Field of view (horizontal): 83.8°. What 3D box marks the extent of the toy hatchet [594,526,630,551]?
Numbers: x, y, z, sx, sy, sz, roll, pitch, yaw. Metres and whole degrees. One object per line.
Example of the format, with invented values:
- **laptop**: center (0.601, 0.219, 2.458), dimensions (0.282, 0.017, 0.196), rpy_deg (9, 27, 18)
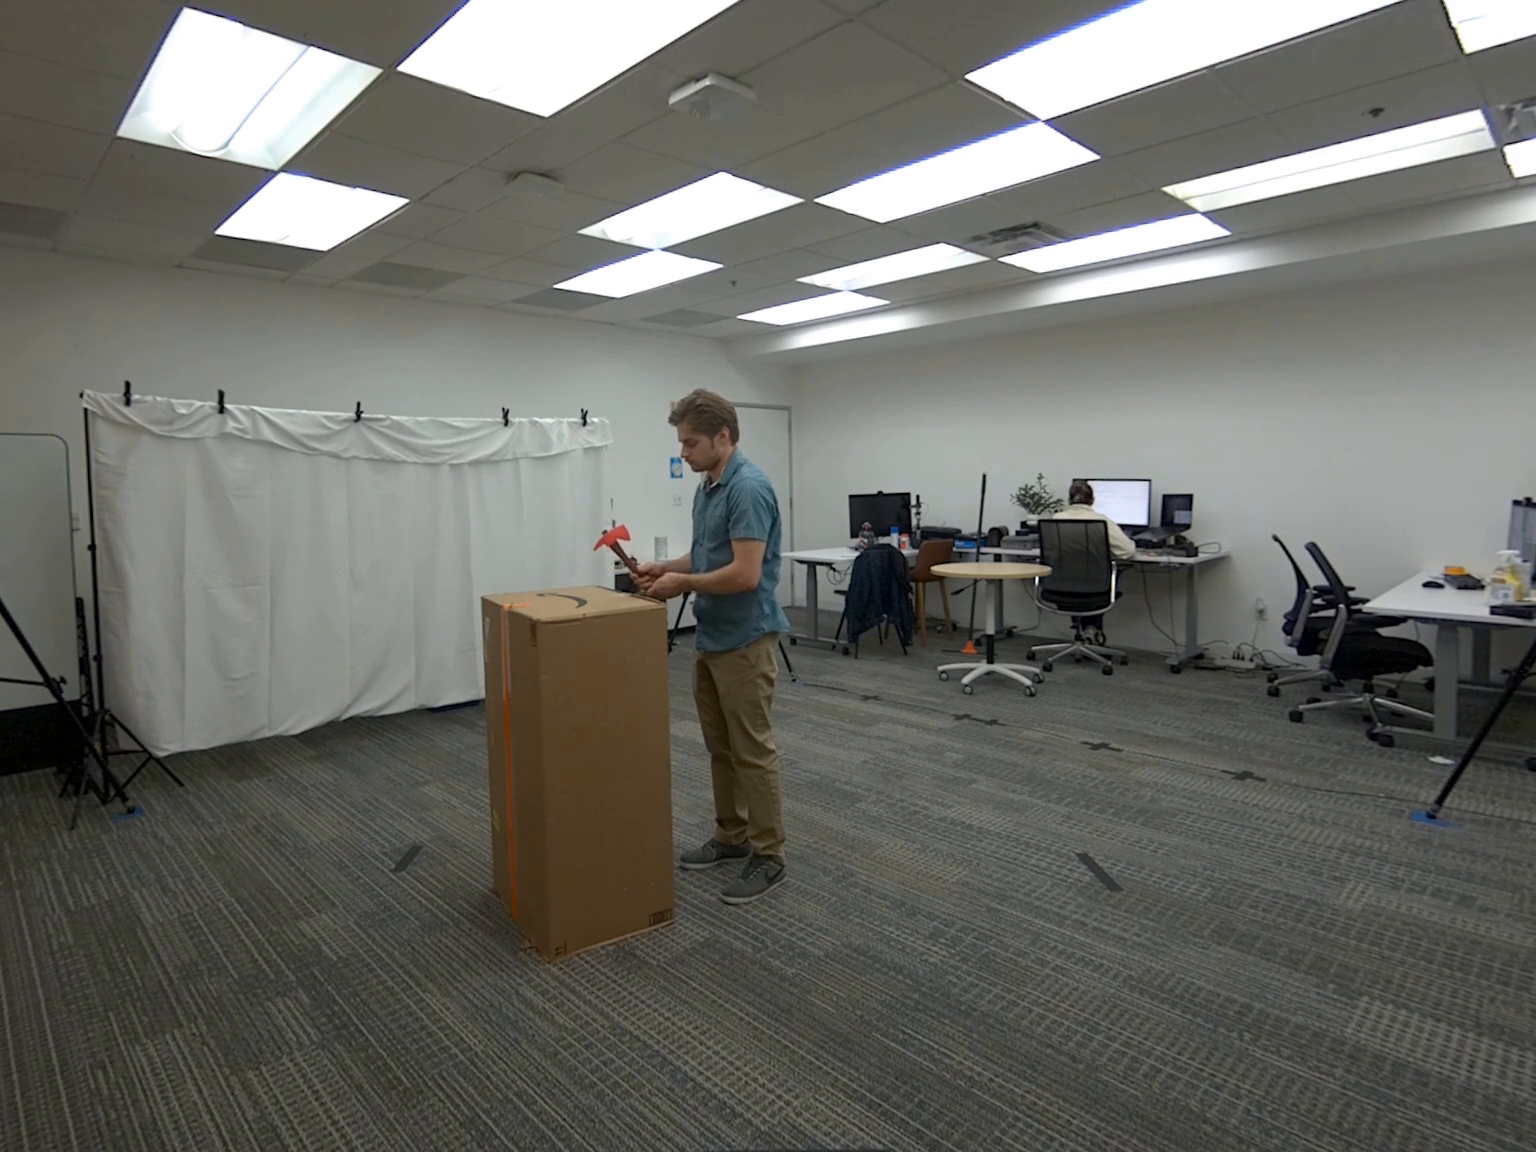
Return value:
- **toy hatchet**: center (-0.451, -0.080, 2.921), dimensions (0.267, 0.131, 0.030), rpy_deg (30, -9, -9)
